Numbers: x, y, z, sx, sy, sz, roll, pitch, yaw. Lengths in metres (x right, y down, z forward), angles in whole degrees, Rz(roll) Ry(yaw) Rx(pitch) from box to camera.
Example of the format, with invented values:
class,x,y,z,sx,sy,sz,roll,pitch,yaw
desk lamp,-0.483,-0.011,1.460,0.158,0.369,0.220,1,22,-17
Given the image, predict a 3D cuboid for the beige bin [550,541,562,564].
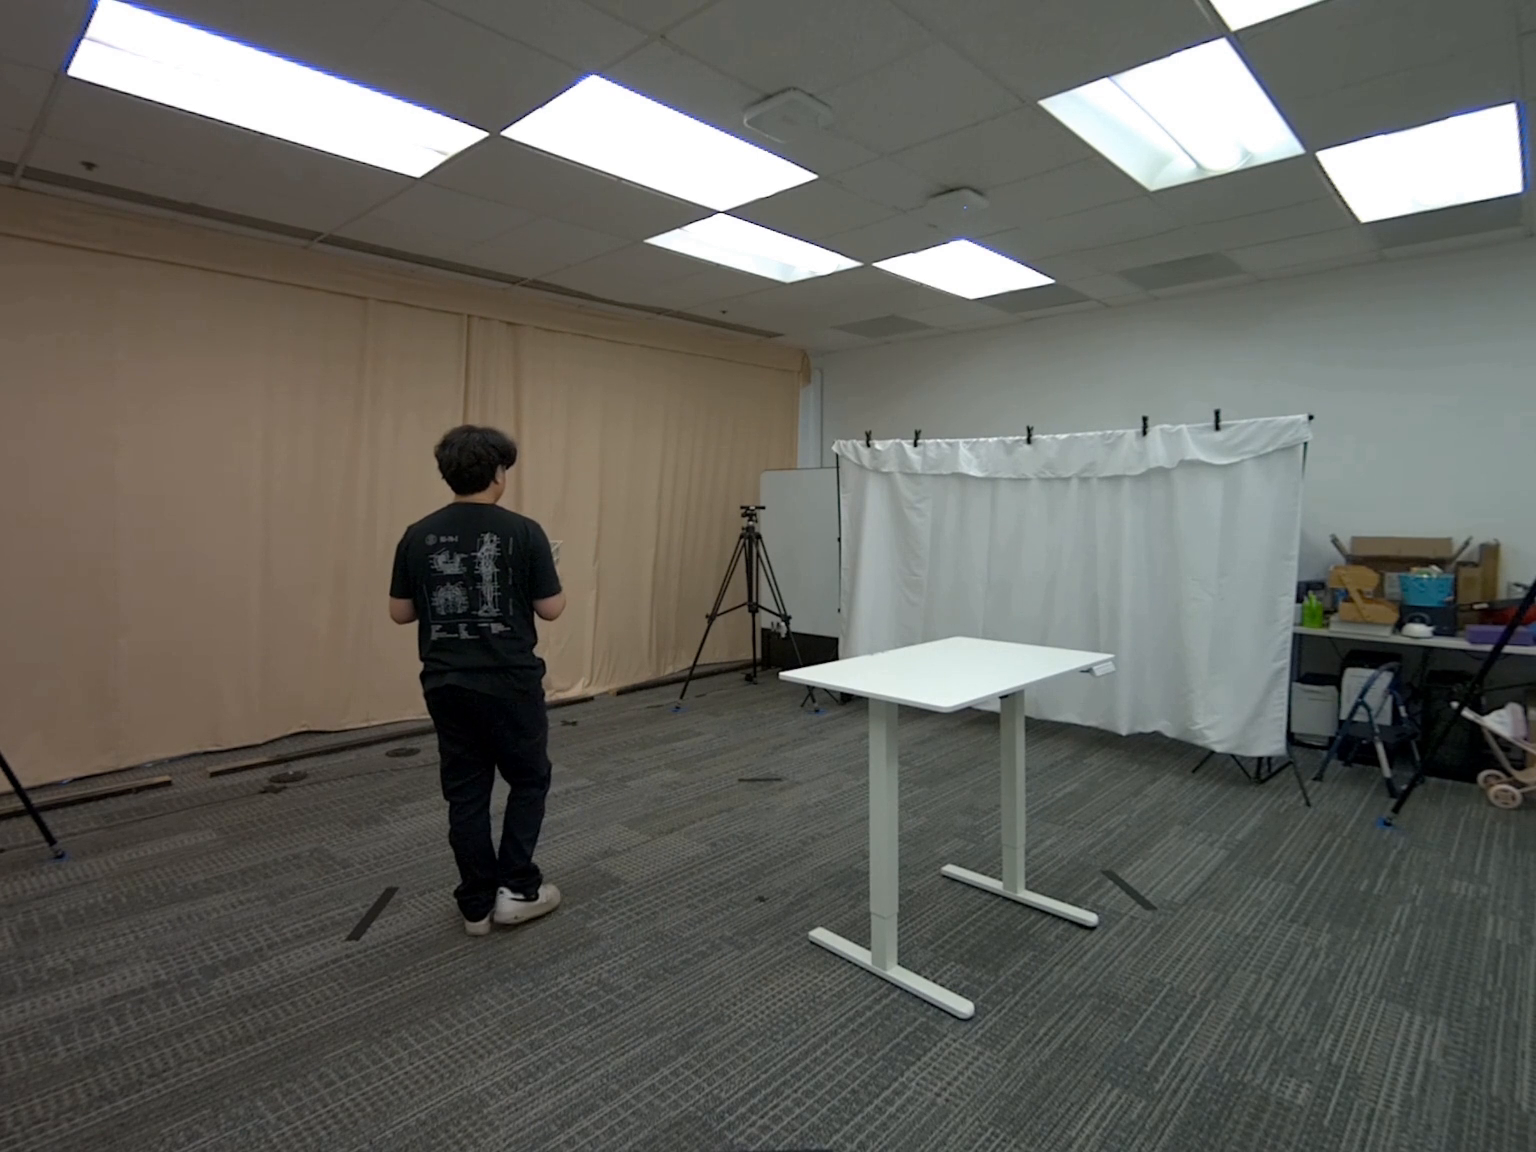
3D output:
class,x,y,z,sx,sy,sz,roll,pitch,yaw
beige bin,-0.995,-0.010,3.104,0.422,0.188,0.380,-2,9,-2
